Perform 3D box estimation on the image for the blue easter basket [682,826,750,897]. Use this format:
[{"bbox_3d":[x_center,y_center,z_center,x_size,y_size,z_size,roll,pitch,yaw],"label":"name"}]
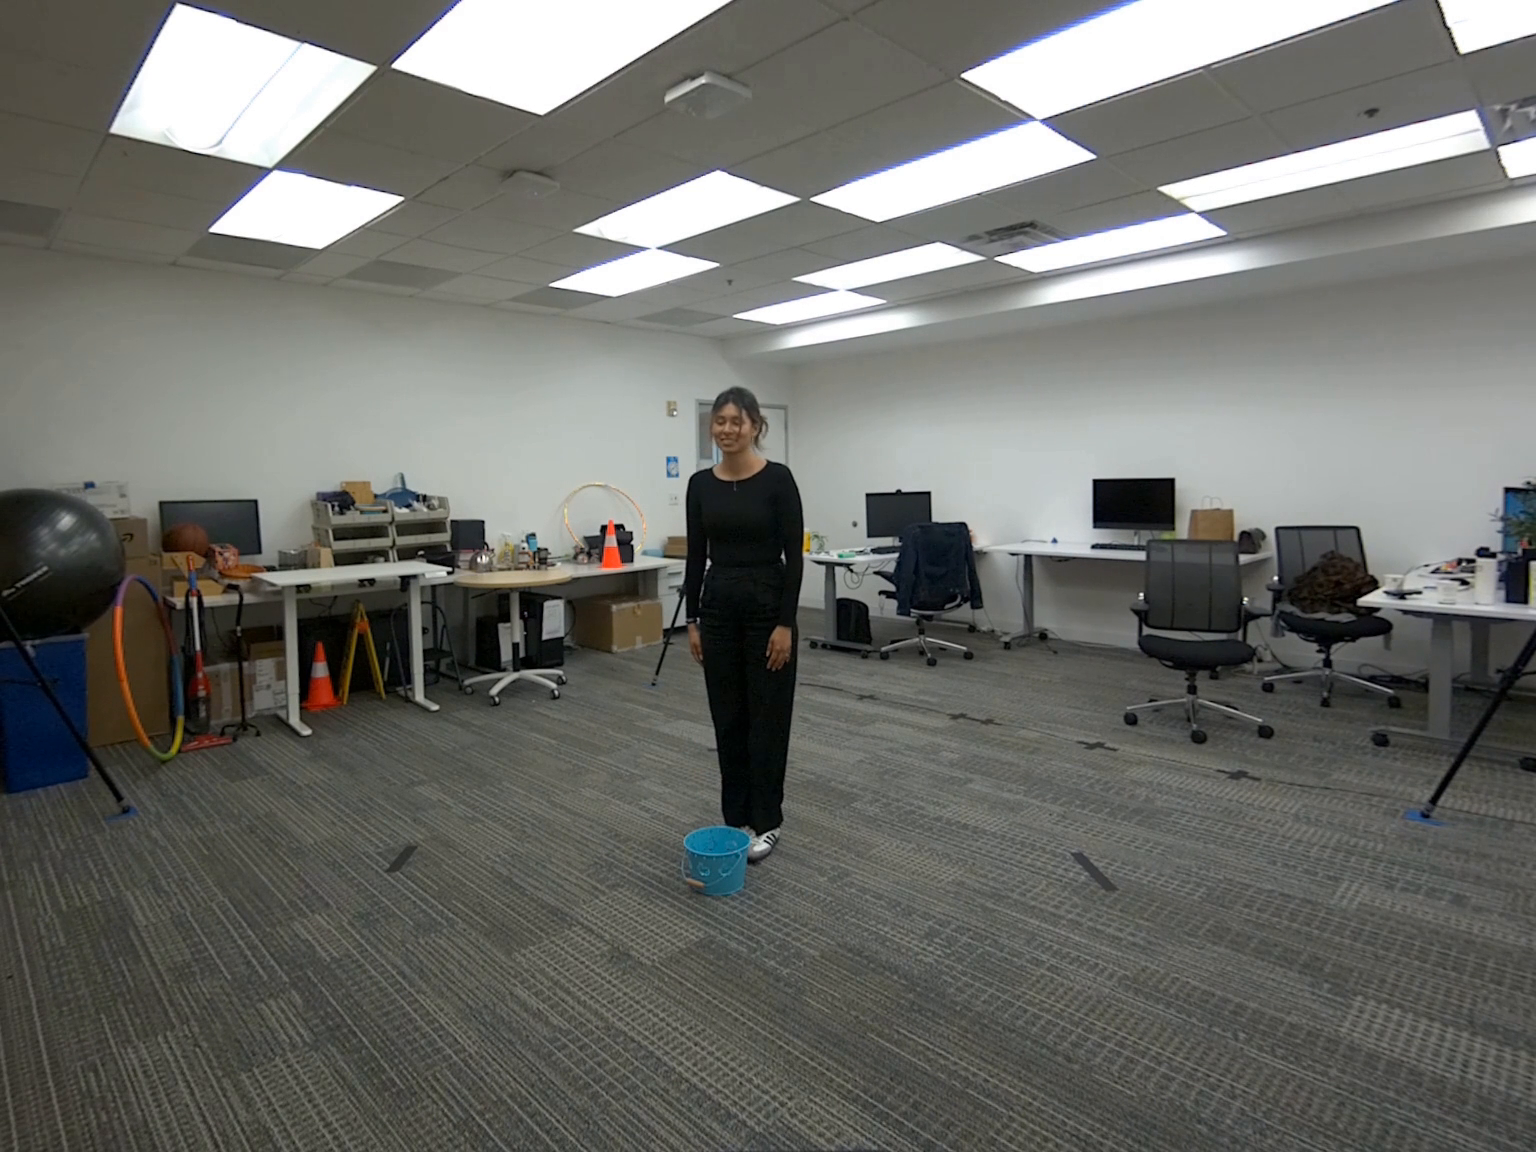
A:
[{"bbox_3d":[-0.176,0.987,2.956,0.243,0.155,0.245,0,6,-2],"label":"blue easter basket"}]
